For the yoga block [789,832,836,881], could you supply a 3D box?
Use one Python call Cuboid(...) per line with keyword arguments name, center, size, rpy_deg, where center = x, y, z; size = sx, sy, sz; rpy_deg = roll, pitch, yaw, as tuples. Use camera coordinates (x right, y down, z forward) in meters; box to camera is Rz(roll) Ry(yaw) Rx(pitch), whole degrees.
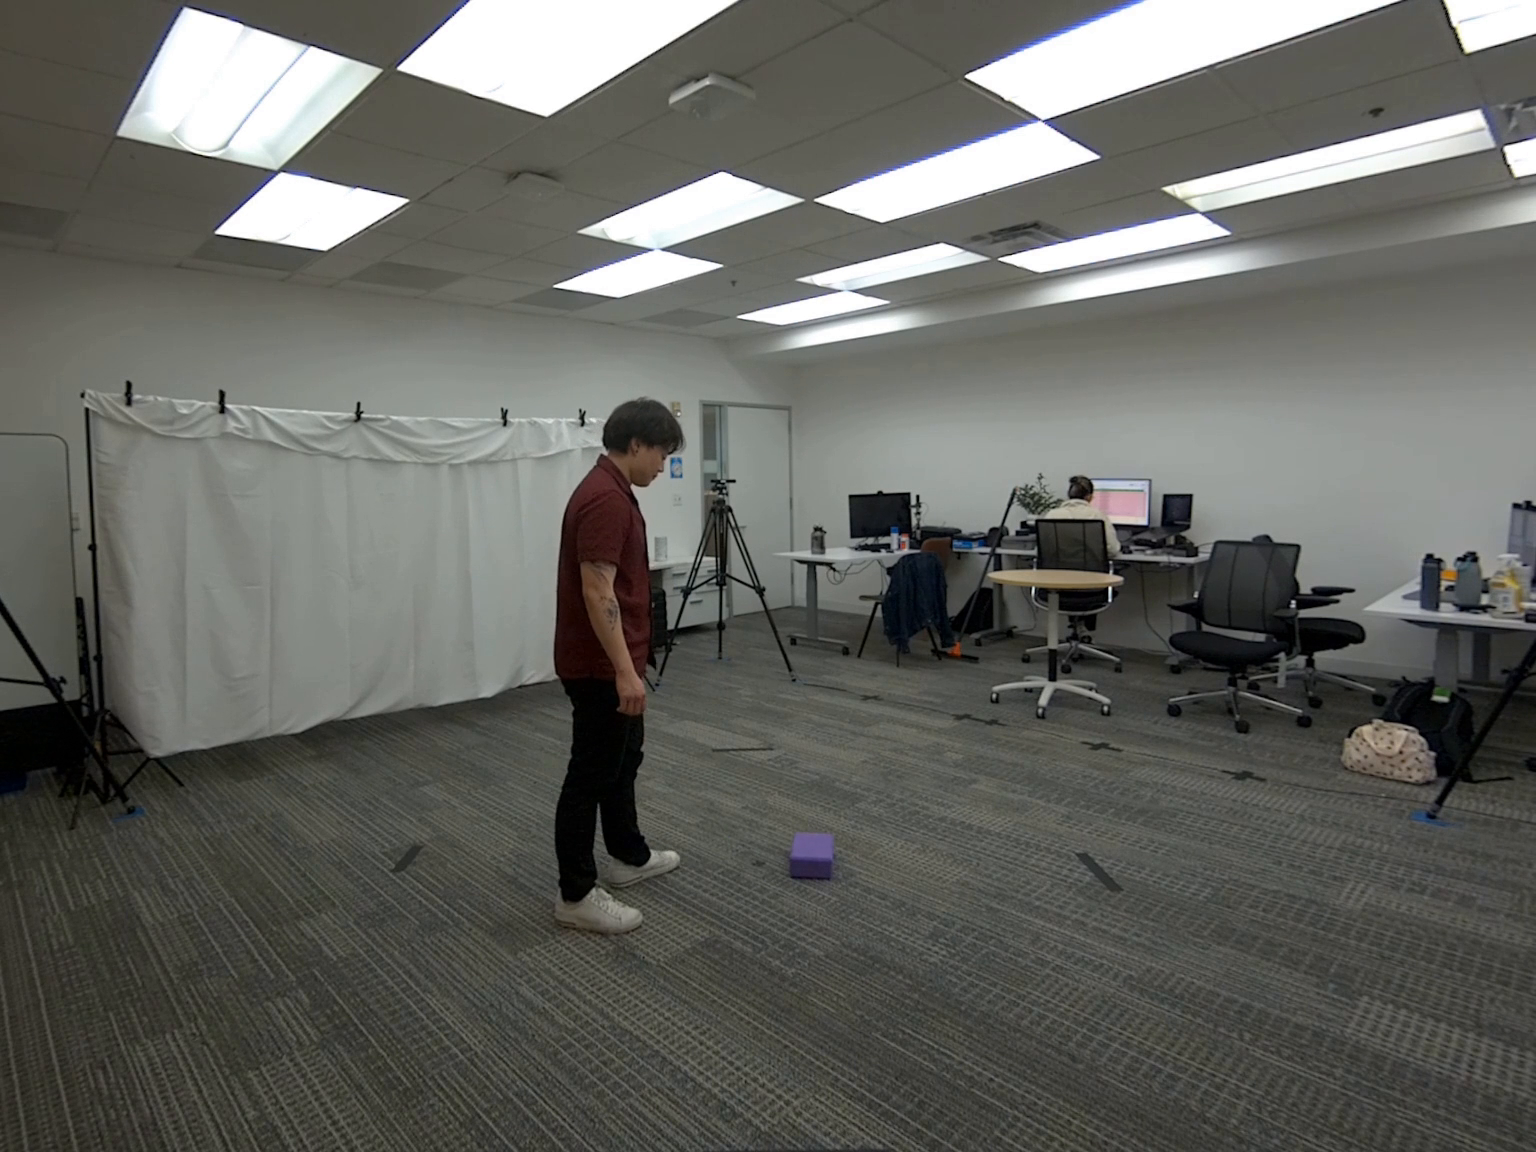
Cuboid(name="yoga block", center=(0.162, 1.001, 3.087), size=(0.150, 0.076, 0.228), rpy_deg=(-2, 6, 8))
